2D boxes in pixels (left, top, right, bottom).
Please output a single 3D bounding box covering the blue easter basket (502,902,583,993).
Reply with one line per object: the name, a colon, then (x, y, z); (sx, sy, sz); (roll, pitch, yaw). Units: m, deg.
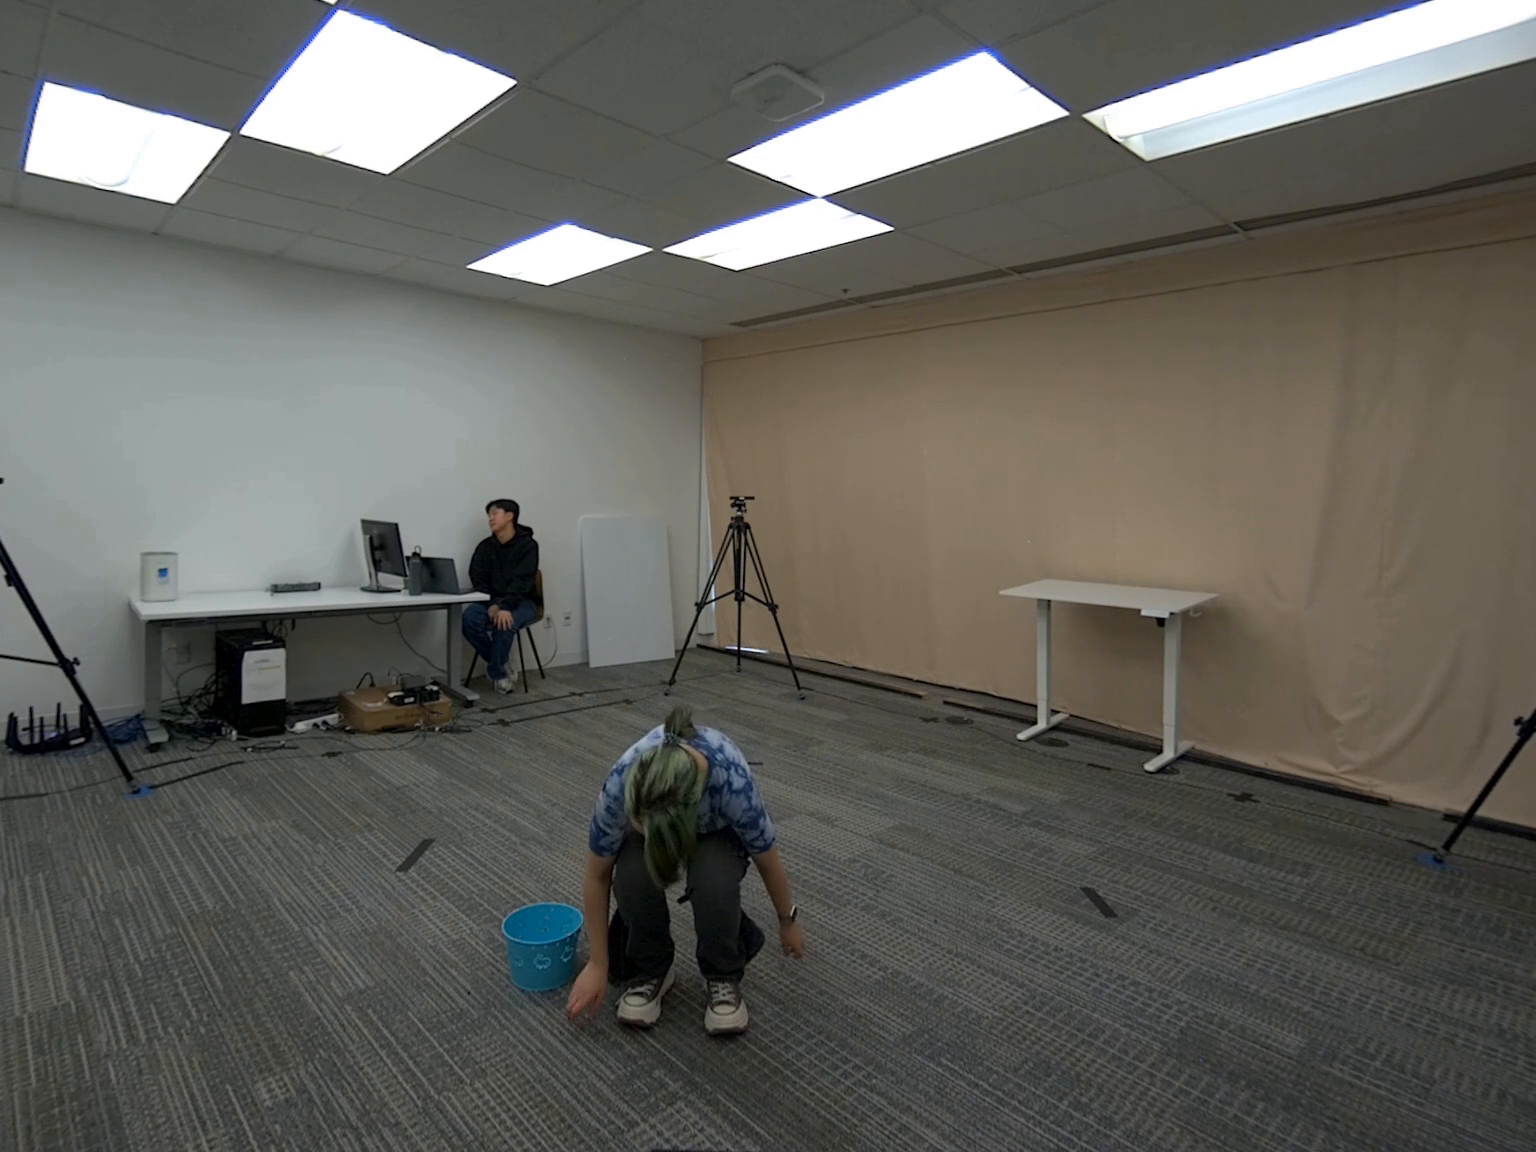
blue easter basket: (-0.660, 1.078, 2.432); (0.243, 0.155, 0.245); (2, 6, -2)
